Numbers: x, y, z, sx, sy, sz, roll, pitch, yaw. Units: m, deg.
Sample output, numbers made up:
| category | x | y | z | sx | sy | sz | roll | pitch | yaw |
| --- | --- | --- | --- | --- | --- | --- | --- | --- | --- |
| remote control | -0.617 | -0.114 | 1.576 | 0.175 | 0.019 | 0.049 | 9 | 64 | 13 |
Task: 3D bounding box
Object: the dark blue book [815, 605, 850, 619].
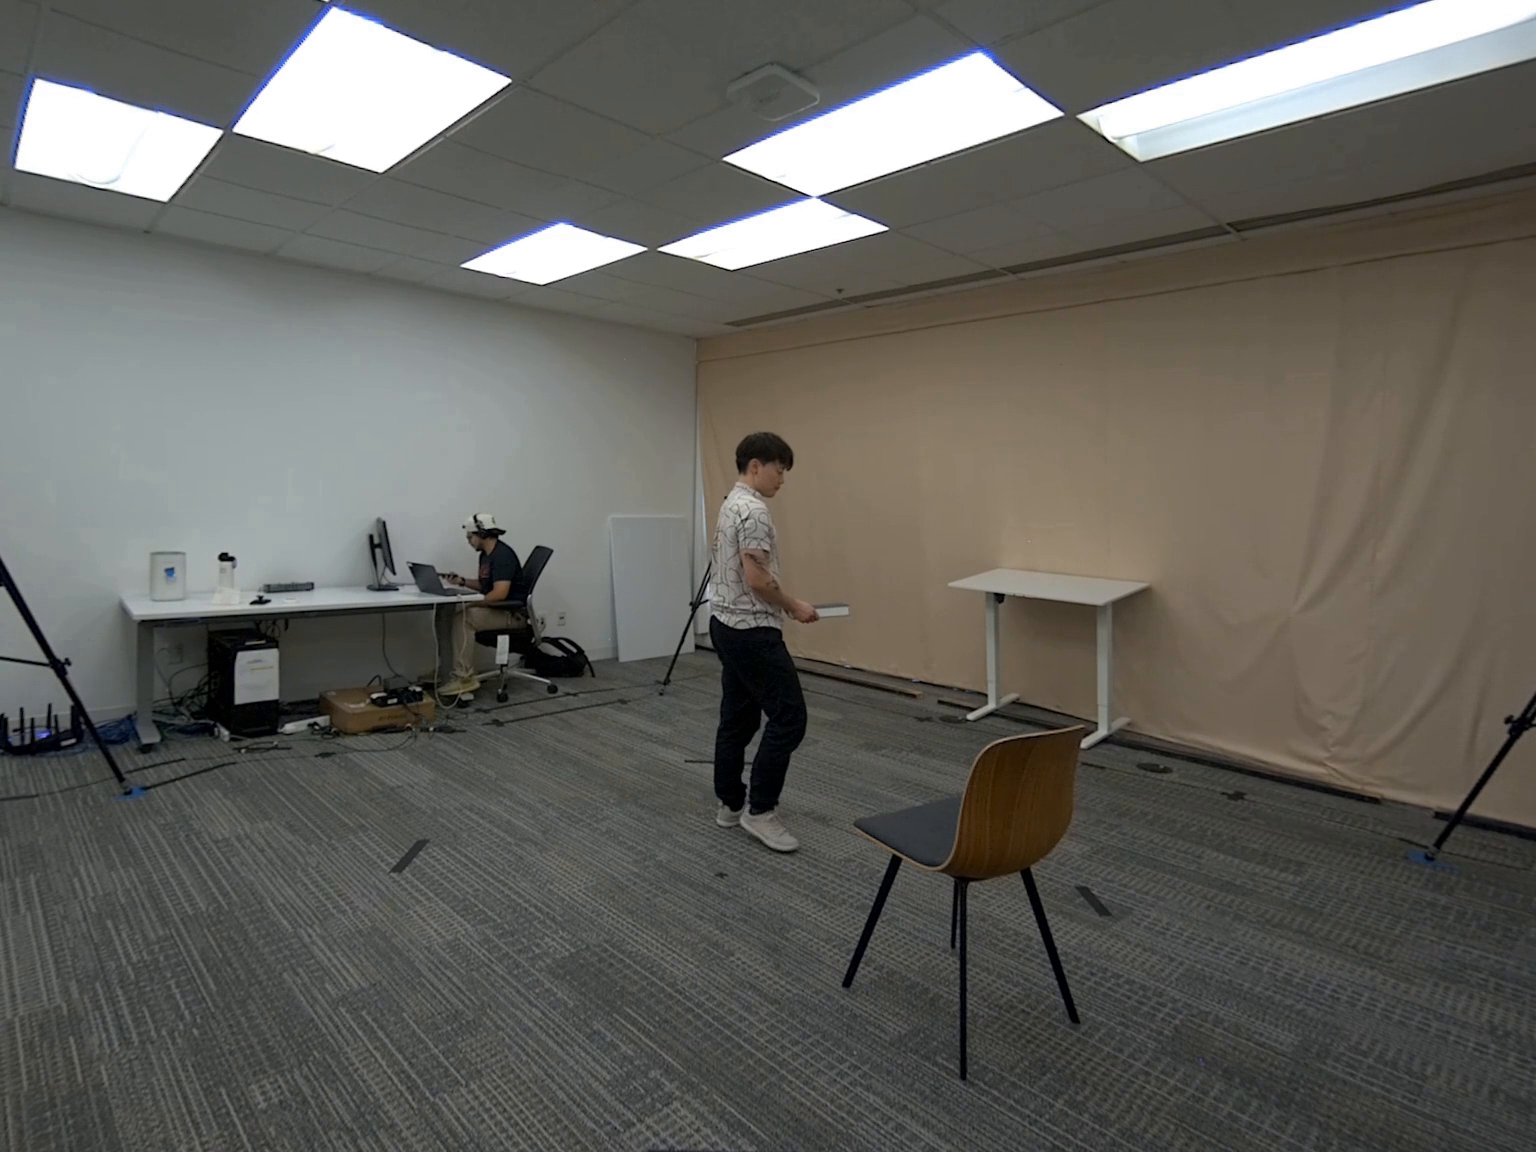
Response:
| category | x | y | z | sx | sy | sz | roll | pitch | yaw |
| --- | --- | --- | --- | --- | --- | --- | --- | --- | --- |
| dark blue book | 0.206 | 0.151 | 3.588 | 0.245 | 0.045 | 0.163 | -4 | 3 | 0 |
